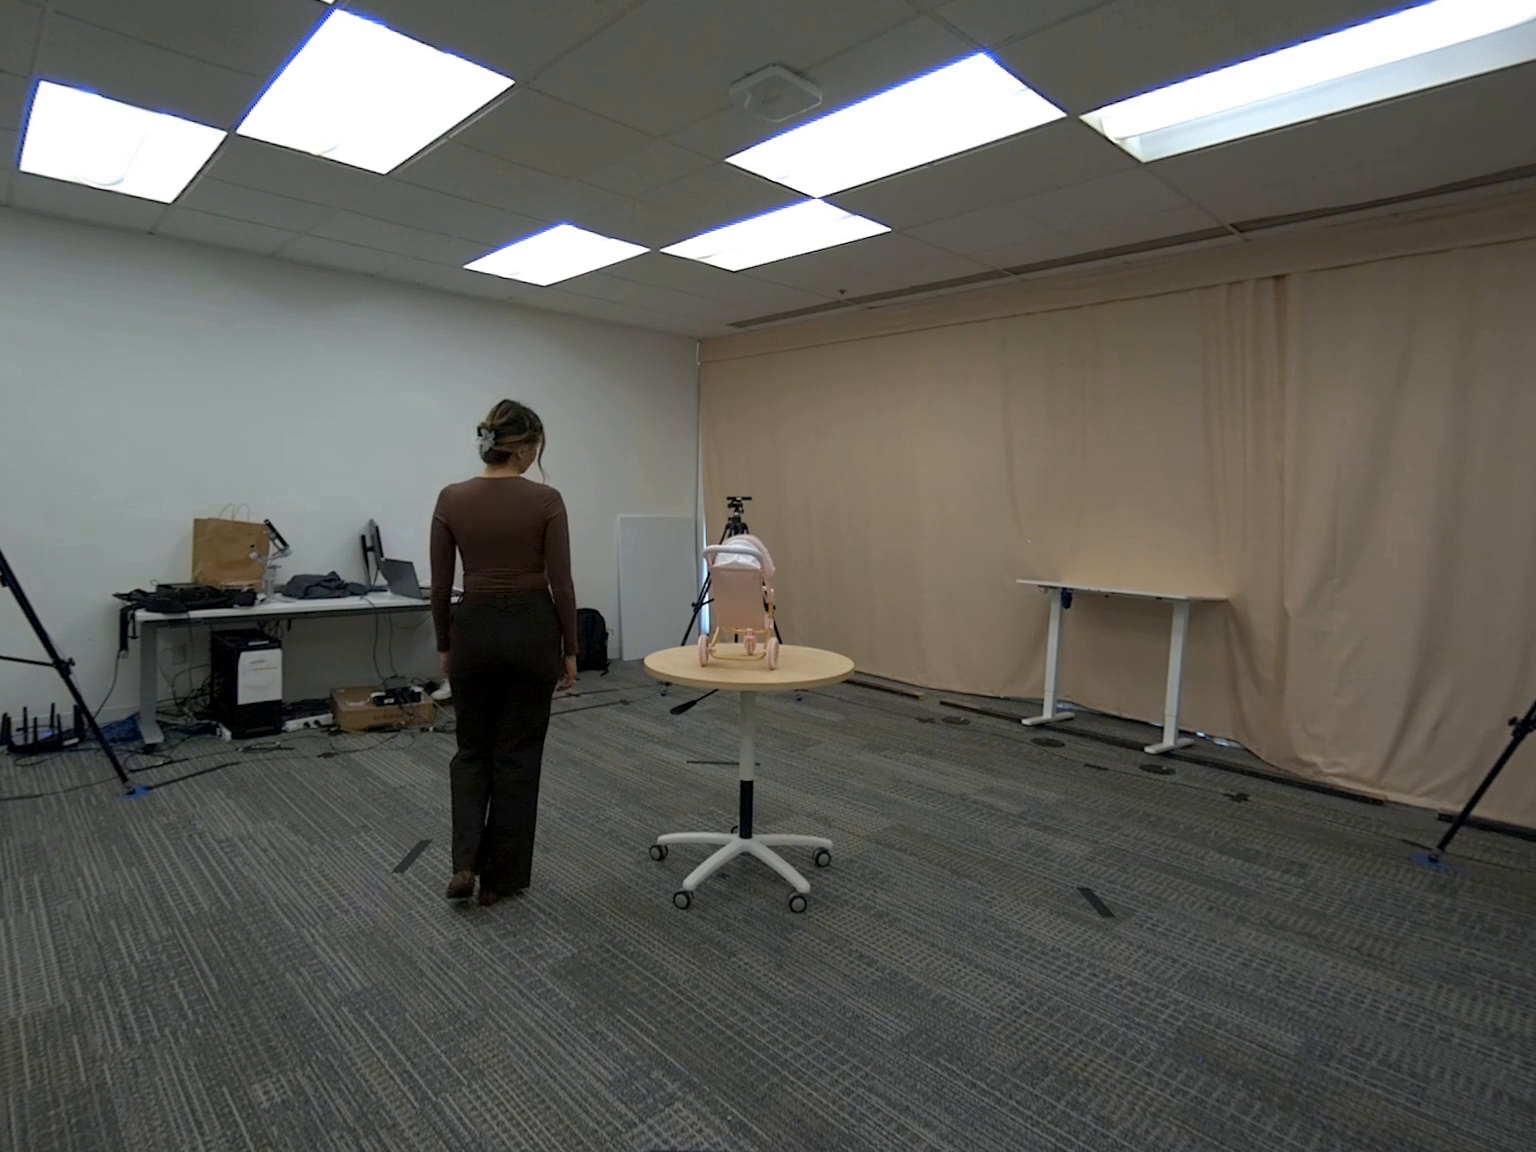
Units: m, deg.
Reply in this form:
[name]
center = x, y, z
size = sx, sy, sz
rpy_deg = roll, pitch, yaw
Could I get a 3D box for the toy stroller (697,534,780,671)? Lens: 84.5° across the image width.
[toy stroller]
center = -0.096, 0.093, 3.014
size = 0.285, 0.528, 0.342
rpy_deg = 2, 19, 13
